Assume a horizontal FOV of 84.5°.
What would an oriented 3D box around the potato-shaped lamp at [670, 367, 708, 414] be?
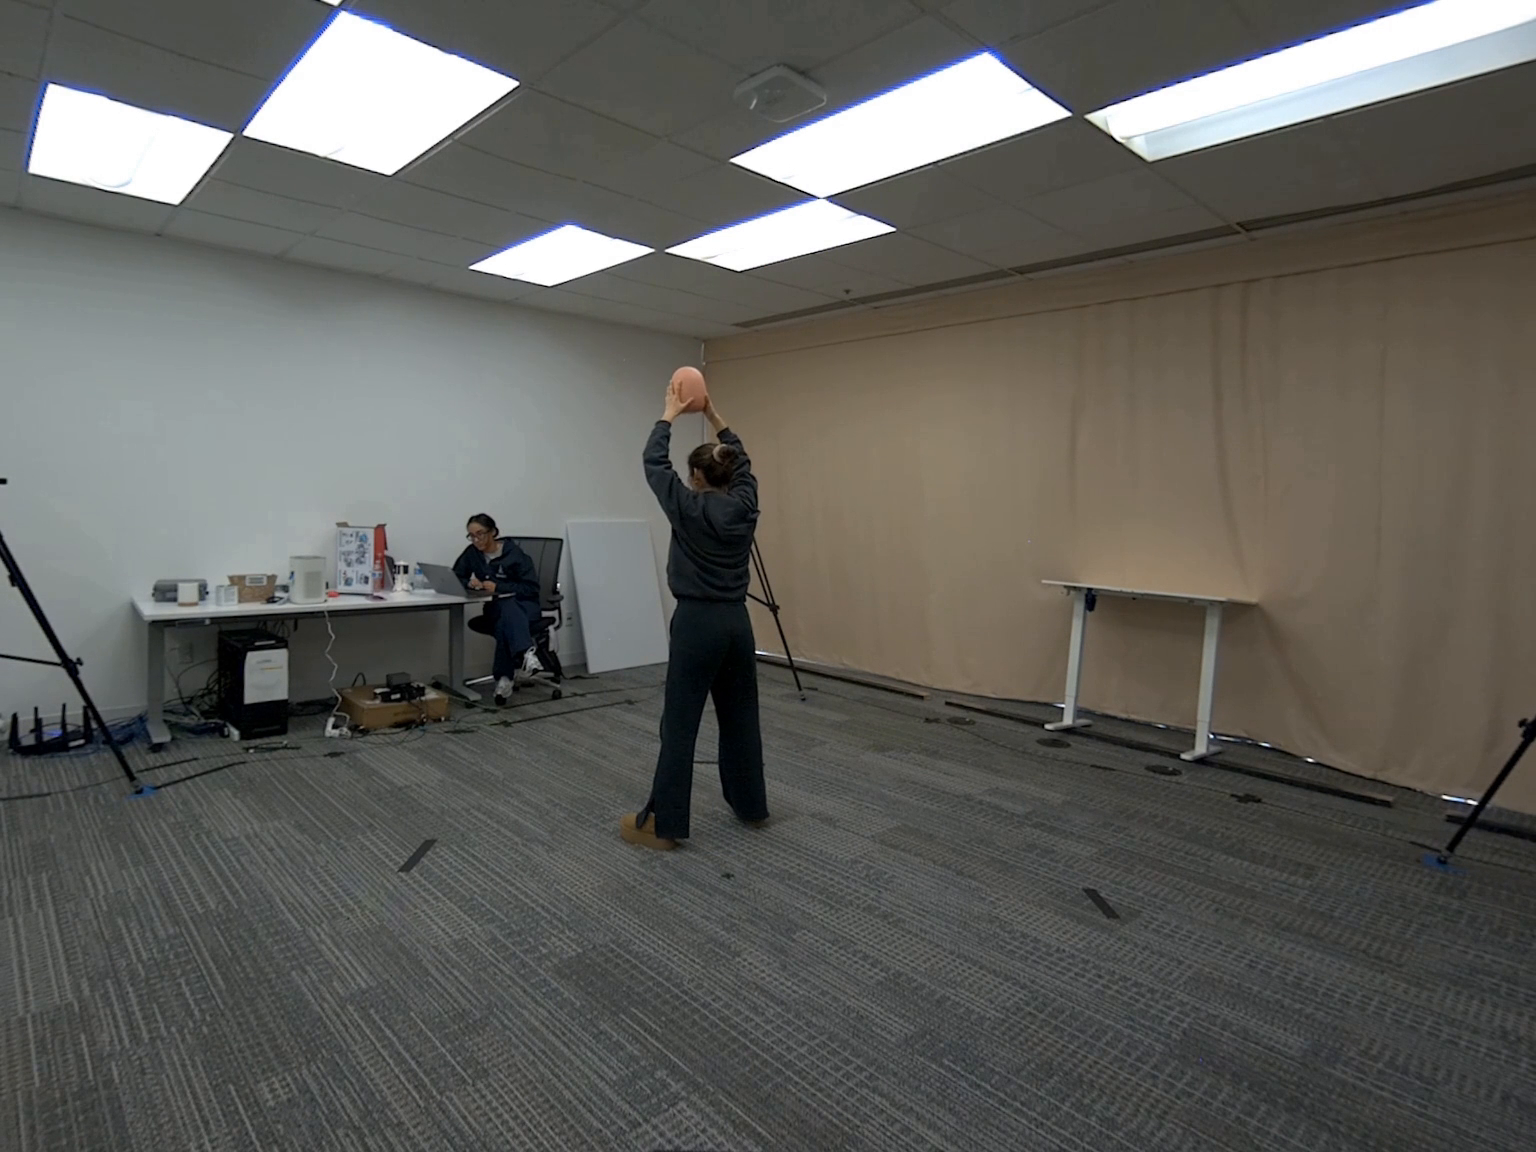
[{"bbox_3d":[-0.361,-0.803,3.626,0.161,0.197,0.175,-6,6,-38],"label":"potato-shaped lamp"}]
